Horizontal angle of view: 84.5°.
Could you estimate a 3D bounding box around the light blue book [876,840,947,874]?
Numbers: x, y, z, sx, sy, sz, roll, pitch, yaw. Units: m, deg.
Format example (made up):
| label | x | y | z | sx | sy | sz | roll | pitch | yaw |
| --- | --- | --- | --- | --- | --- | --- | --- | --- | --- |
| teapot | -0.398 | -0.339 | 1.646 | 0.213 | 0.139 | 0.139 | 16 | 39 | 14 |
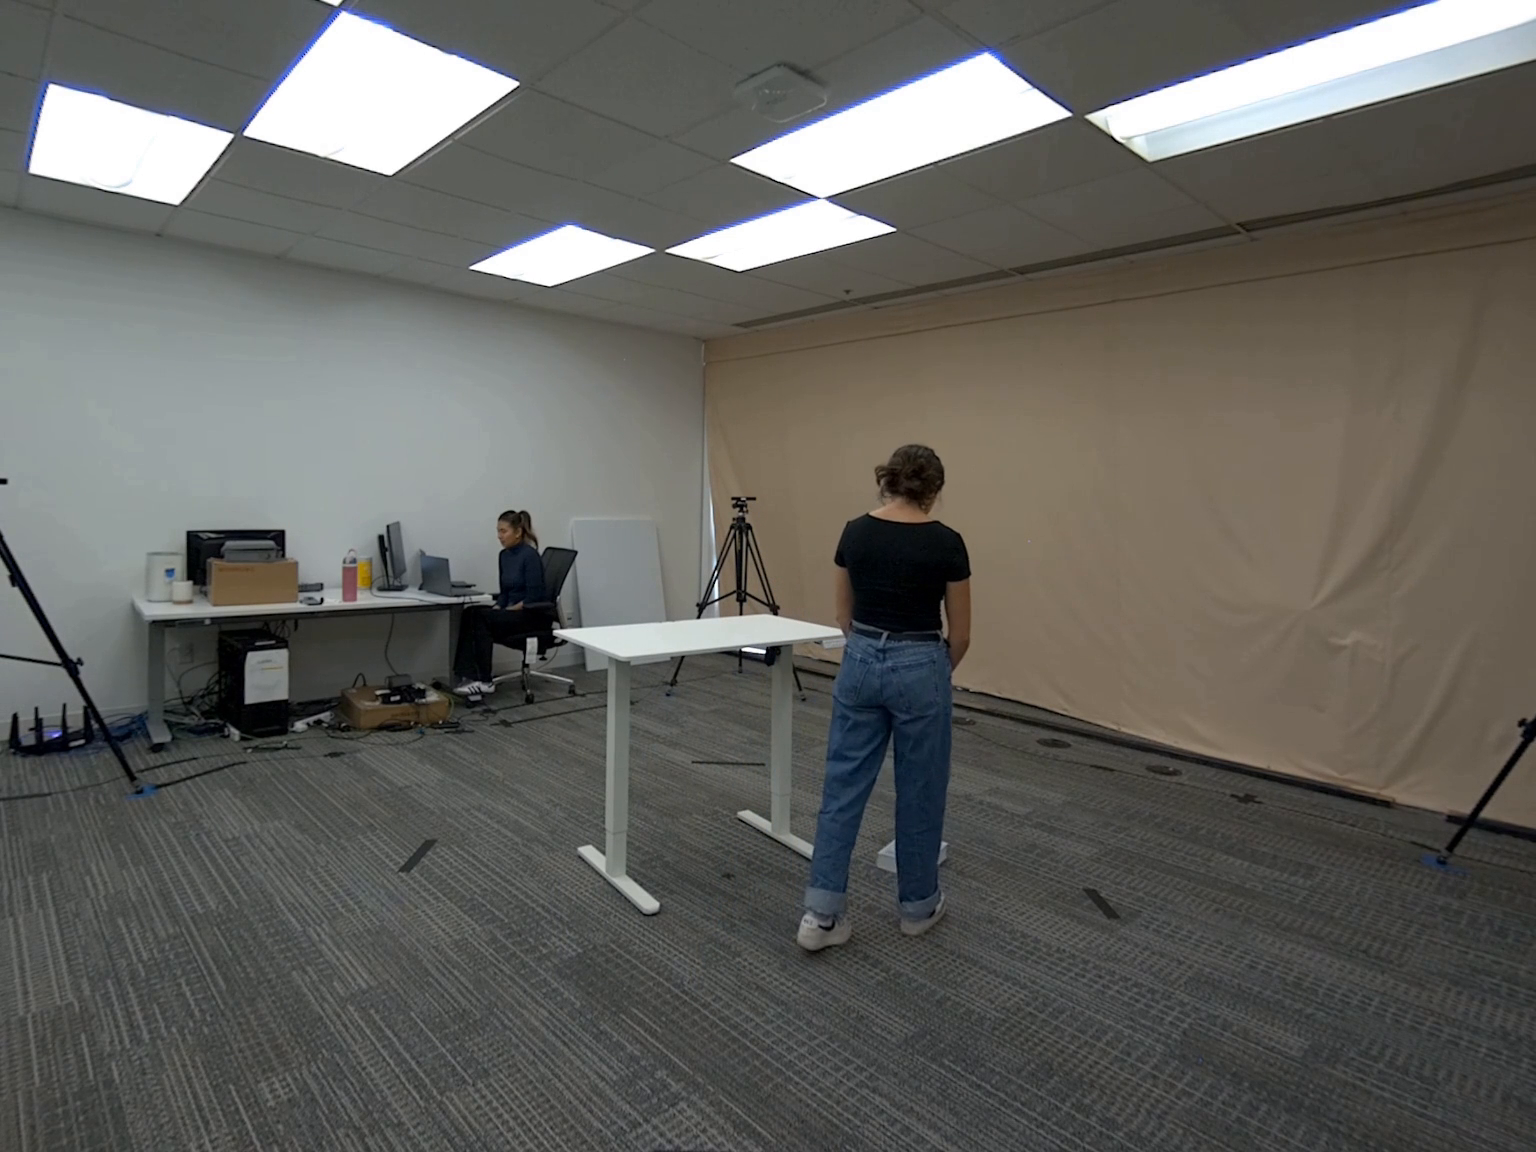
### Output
| label | x | y | z | sx | sy | sz | roll | pitch | yaw |
| --- | --- | --- | --- | --- | --- | --- | --- | --- | --- |
| light blue book | 0.555 | 1.080 | 3.260 | 0.196 | 0.059 | 0.256 | 5 | 6 | 32 |
